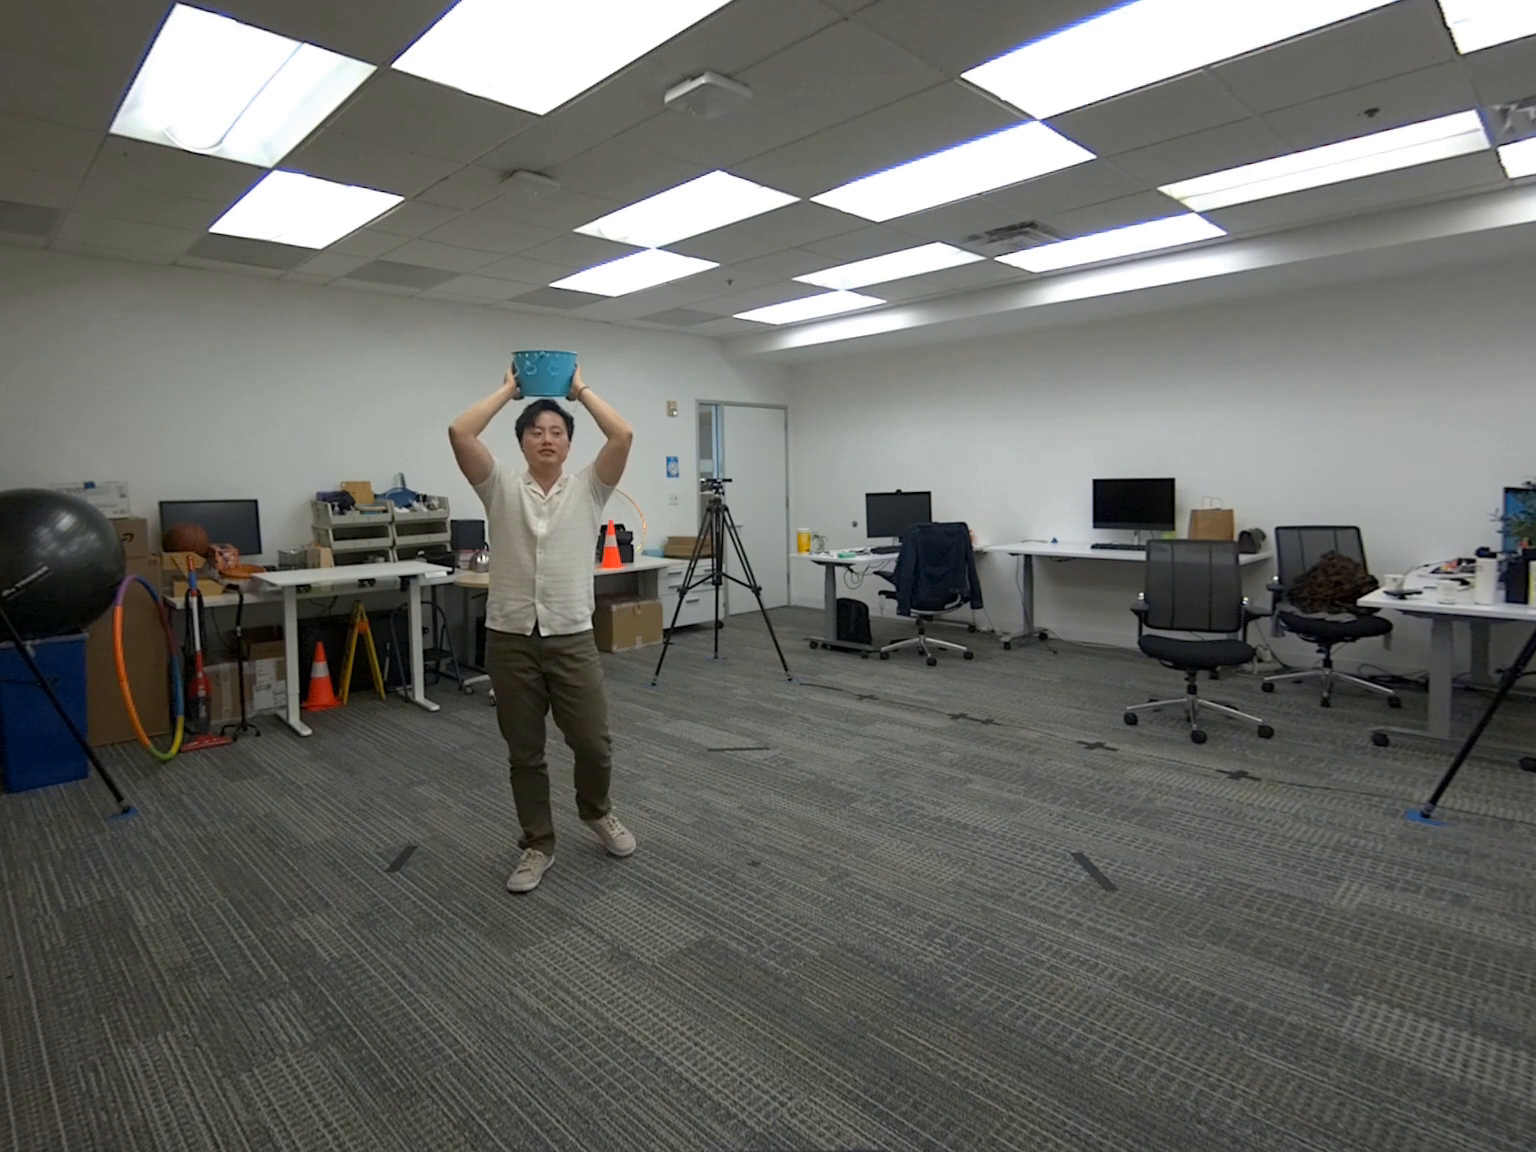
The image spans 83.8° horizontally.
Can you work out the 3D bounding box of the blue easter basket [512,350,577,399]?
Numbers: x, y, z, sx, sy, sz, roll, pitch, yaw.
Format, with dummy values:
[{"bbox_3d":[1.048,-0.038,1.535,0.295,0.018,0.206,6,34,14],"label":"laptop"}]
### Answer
[{"bbox_3d":[-0.808,-0.720,3.056,0.243,0.155,0.245,0,8,-2],"label":"blue easter basket"}]
